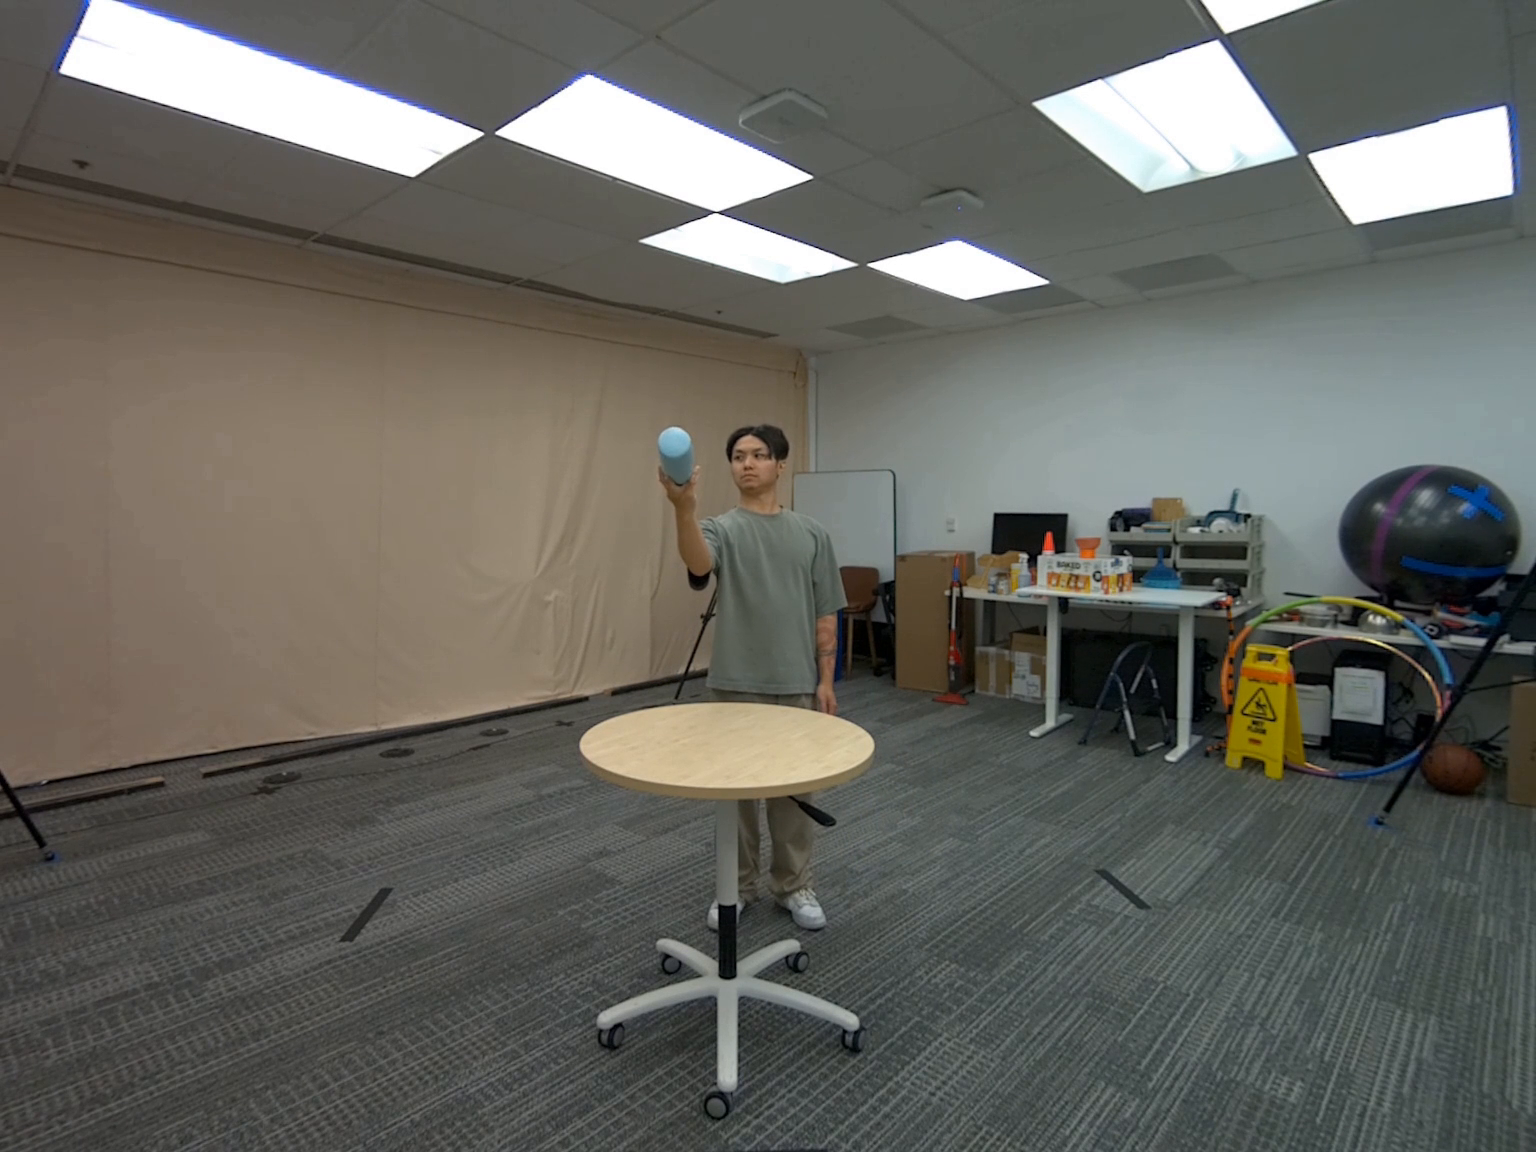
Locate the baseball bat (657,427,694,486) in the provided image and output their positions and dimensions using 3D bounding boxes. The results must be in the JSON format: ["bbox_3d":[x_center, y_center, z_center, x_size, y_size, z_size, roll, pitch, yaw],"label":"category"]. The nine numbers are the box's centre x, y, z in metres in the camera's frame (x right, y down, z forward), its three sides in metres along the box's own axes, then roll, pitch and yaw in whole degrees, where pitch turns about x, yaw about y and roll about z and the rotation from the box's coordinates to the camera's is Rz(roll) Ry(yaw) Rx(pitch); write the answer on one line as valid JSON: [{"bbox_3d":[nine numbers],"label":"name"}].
[{"bbox_3d":[-0.244,-0.275,2.321,0.089,0.090,0.539,0,-12,-3],"label":"baseball bat"}]
